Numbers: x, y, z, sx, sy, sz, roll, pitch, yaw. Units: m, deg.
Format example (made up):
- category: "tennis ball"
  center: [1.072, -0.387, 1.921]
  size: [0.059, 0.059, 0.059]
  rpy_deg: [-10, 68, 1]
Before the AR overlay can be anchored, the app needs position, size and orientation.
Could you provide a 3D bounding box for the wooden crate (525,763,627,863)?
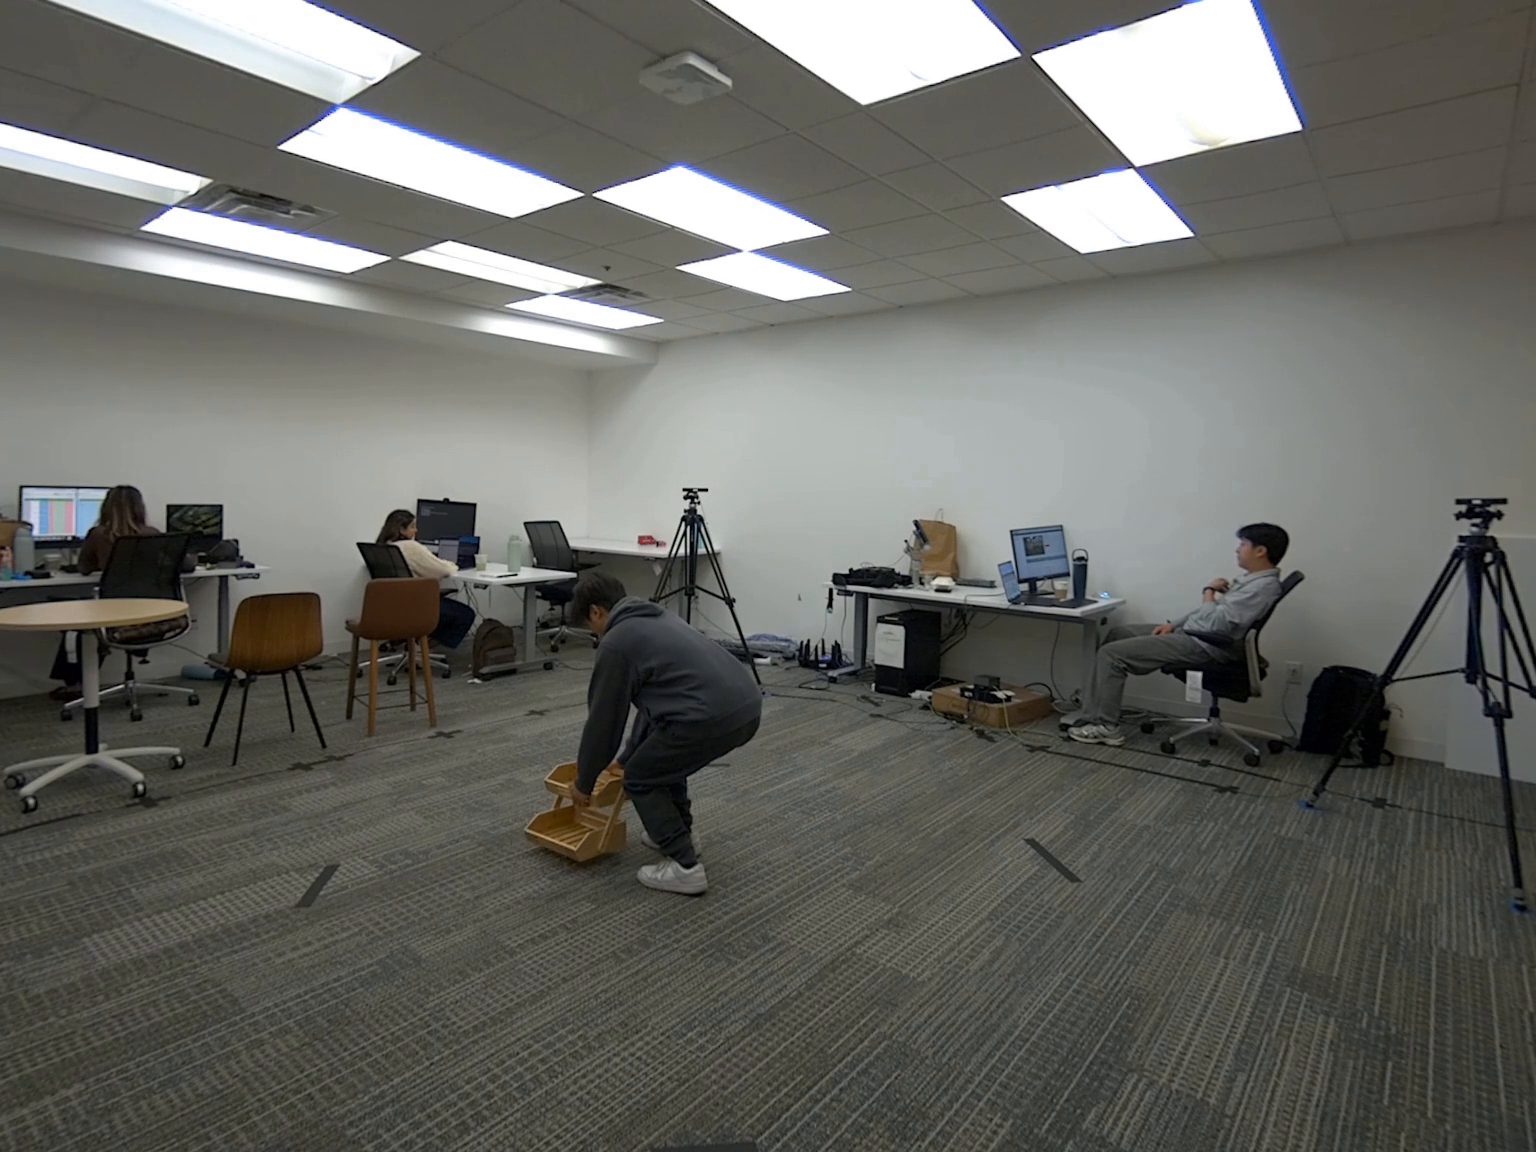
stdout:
- category: "wooden crate"
  center: [-0.730, 0.877, 3.243]
  size: [0.335, 0.273, 0.292]
  rpy_deg: [3, 1, 37]
